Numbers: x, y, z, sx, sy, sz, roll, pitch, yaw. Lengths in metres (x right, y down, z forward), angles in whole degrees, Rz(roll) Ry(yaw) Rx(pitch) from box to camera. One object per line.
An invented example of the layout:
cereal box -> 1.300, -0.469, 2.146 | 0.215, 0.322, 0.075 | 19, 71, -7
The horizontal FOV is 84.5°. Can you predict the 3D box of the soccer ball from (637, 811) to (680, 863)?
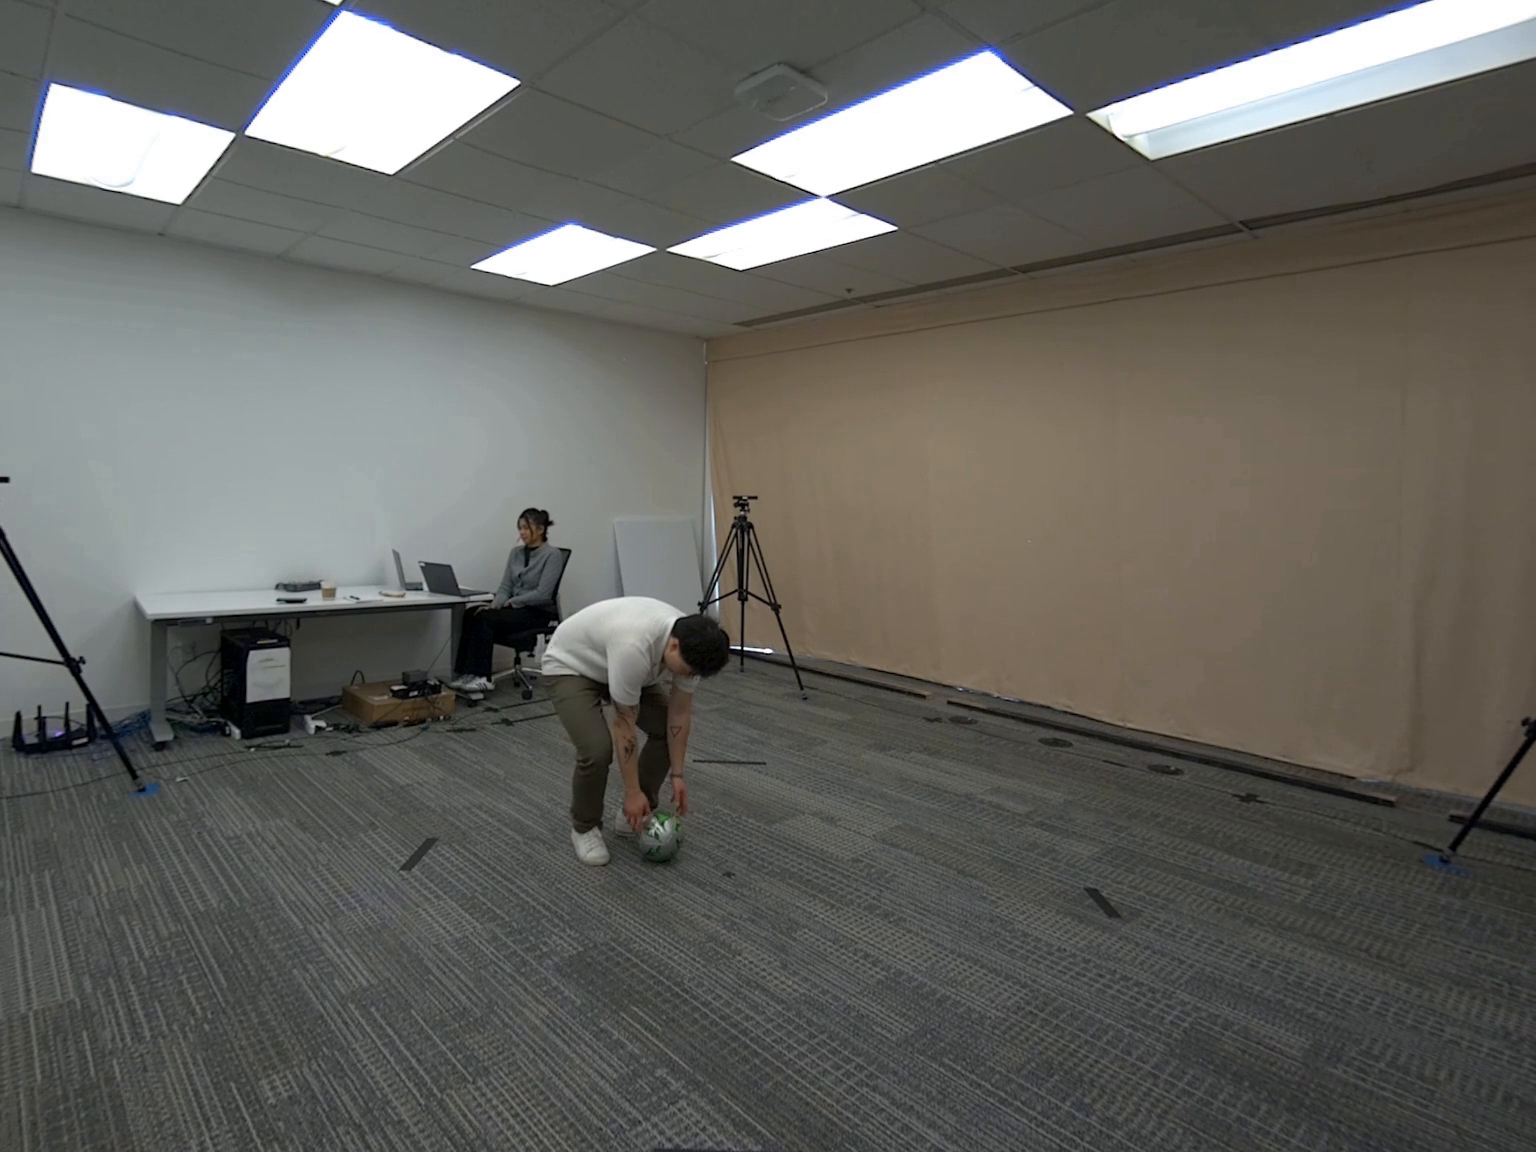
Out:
soccer ball -> -0.428, 0.992, 3.211 | 0.187, 0.187, 0.188 | 1, 4, -1
